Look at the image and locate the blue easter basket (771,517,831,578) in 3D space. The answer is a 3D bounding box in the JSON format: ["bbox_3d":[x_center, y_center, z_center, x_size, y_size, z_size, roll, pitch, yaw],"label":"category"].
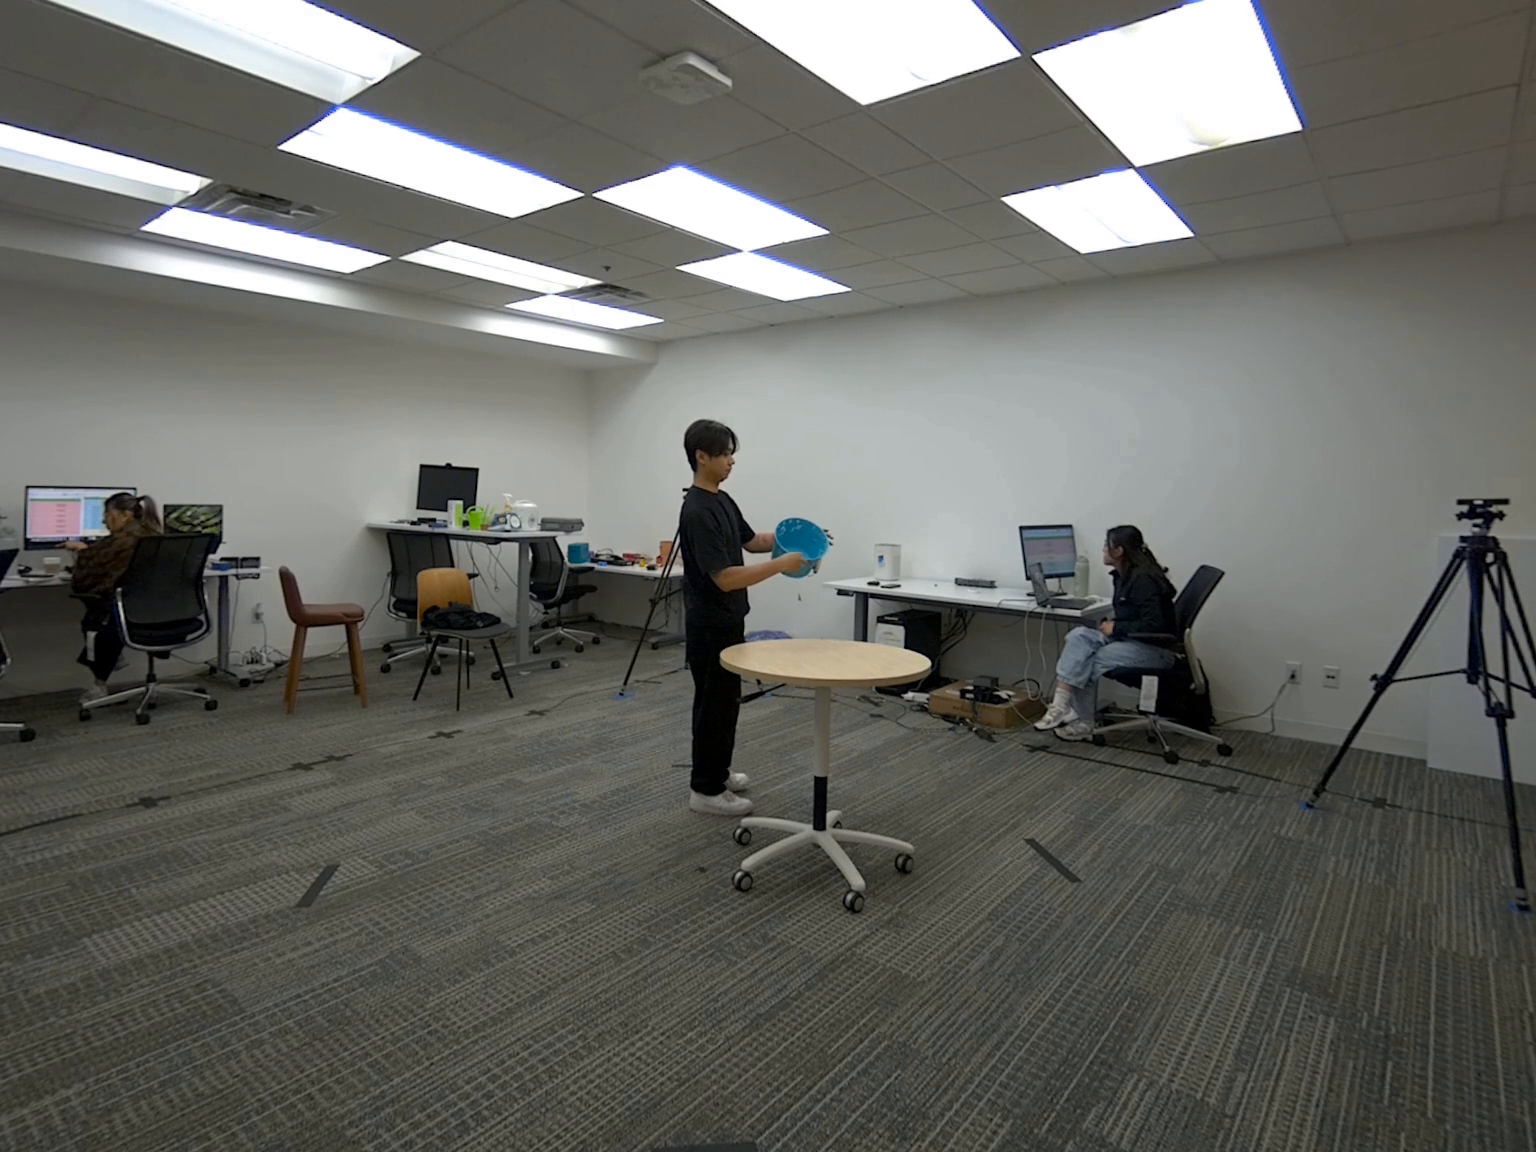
[{"bbox_3d":[0.112,-0.105,3.565,0.239,0.252,0.153,-1,-39,-17],"label":"blue easter basket"}]
